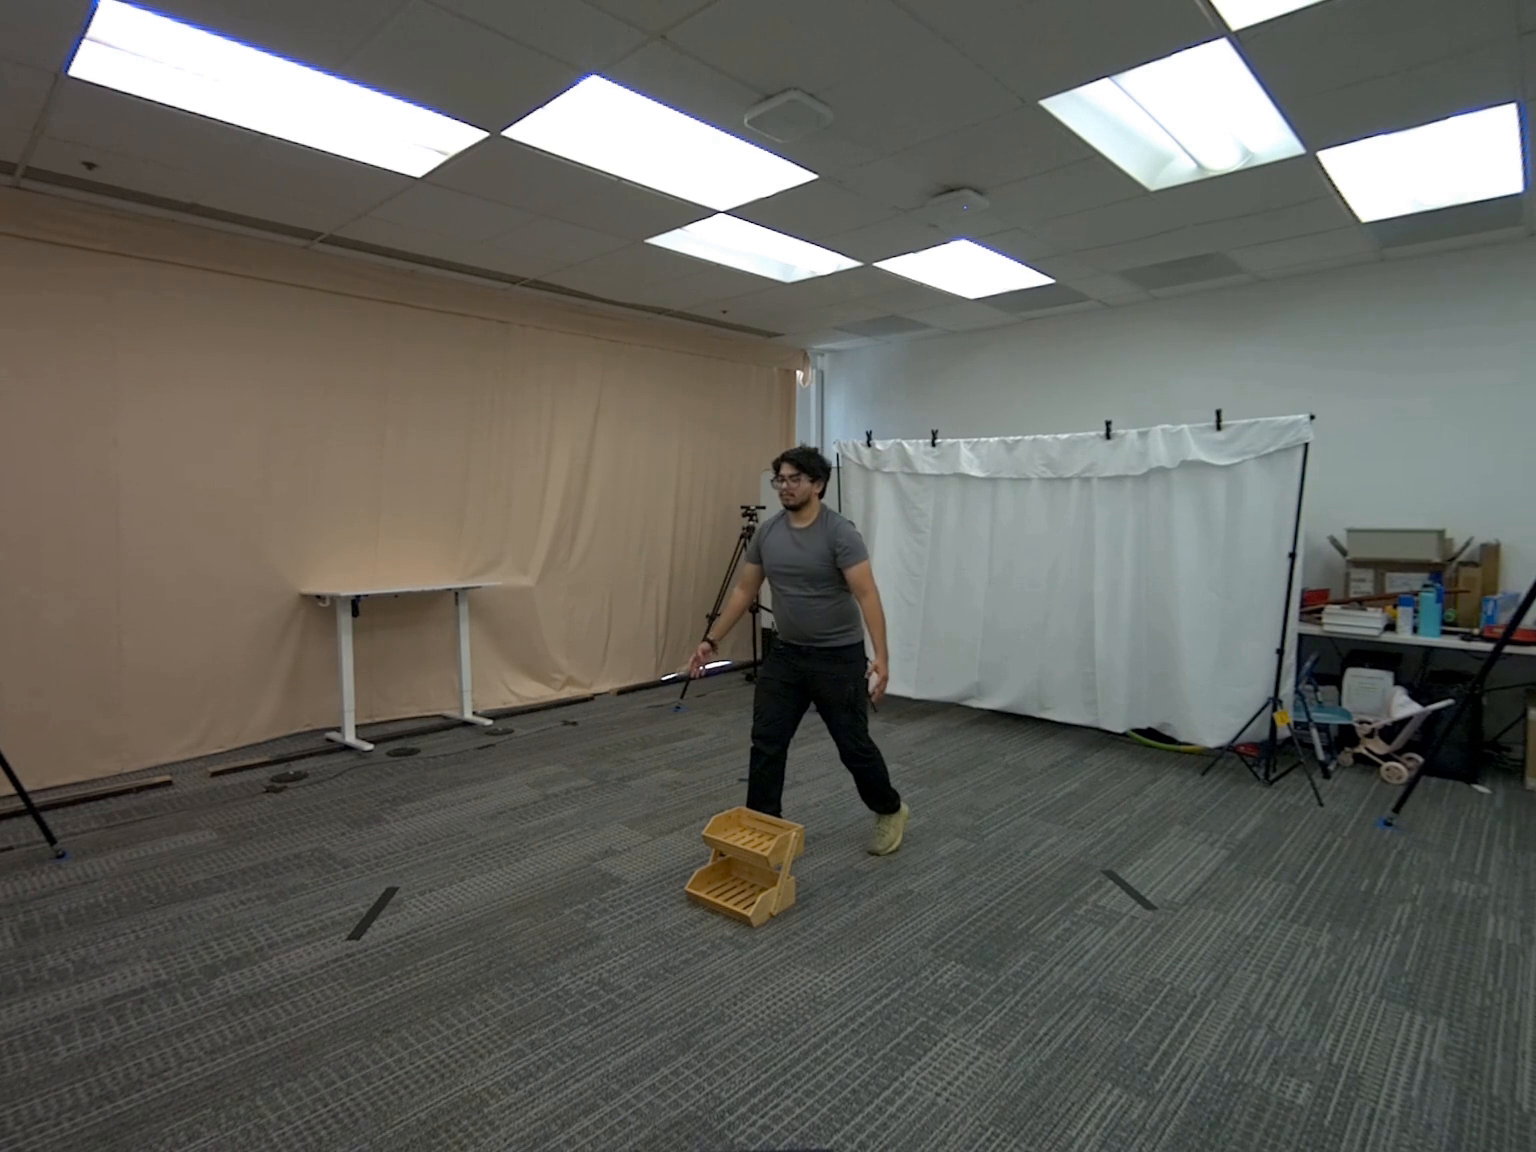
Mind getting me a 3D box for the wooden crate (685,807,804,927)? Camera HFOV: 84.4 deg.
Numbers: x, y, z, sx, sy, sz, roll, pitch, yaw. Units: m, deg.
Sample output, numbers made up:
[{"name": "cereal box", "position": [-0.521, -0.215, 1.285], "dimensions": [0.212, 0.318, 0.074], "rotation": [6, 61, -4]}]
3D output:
[{"name": "wooden crate", "position": [-0.082, 1.012, 2.968], "dimensions": [0.335, 0.273, 0.293], "rotation": [3, 5, 40]}]
